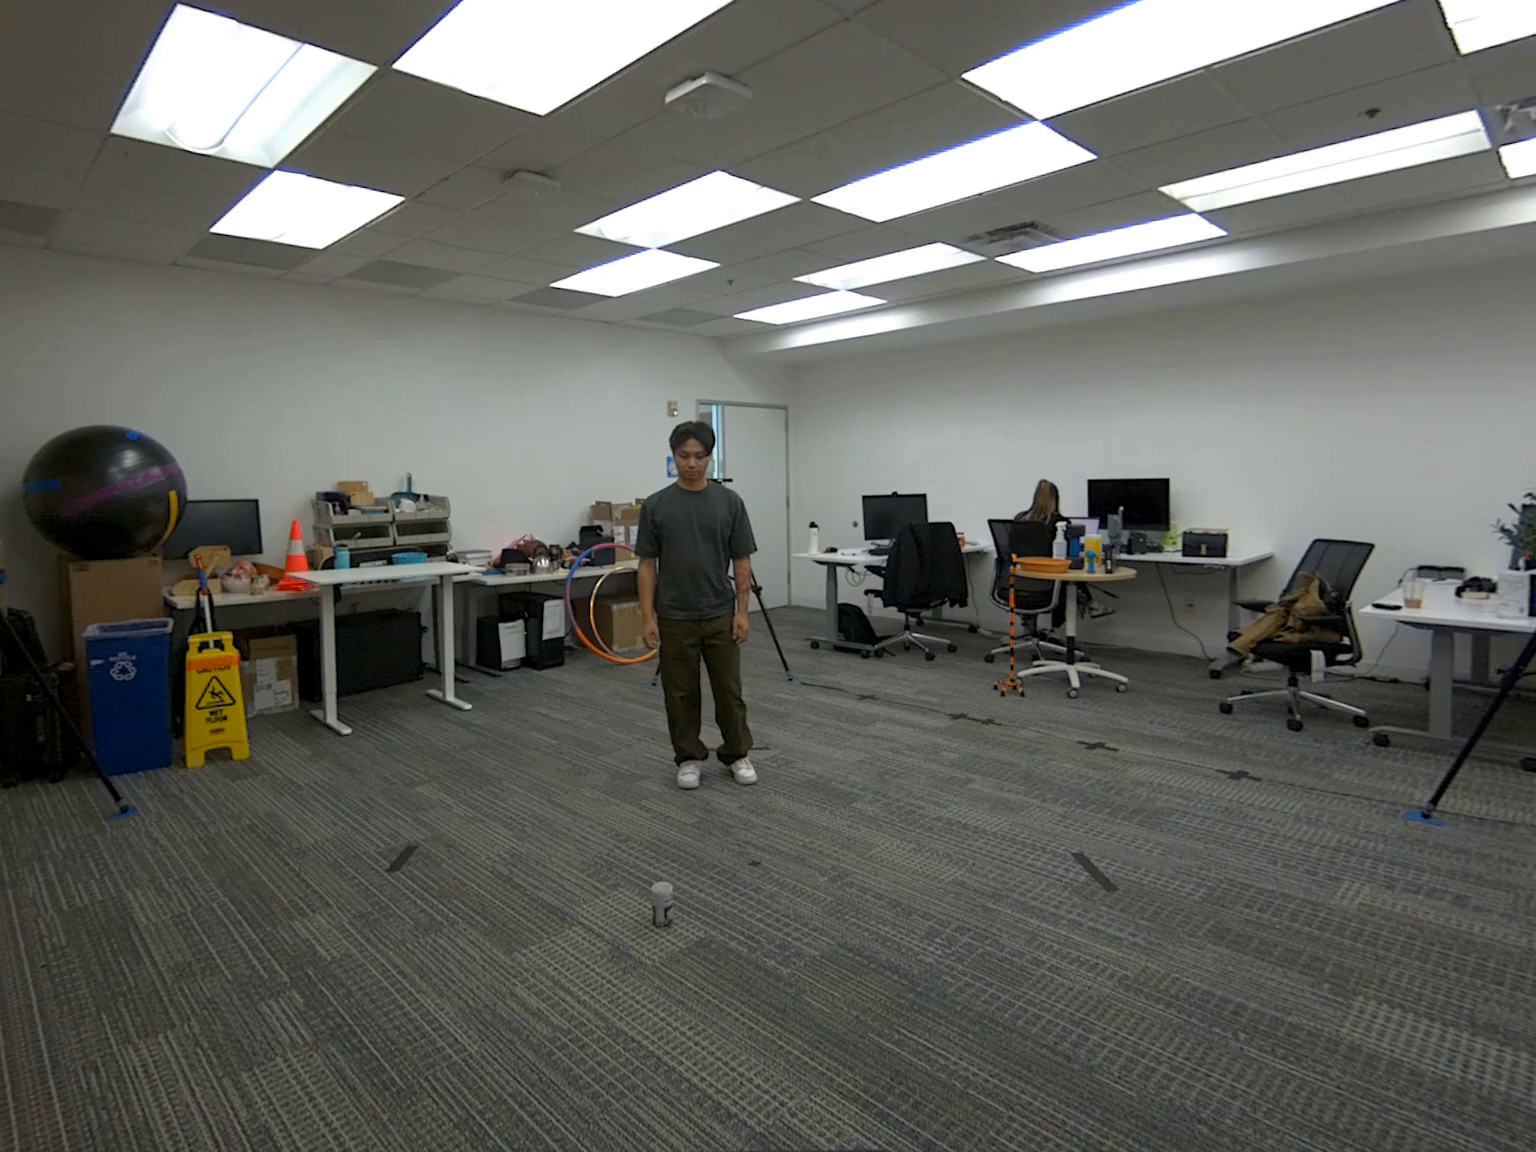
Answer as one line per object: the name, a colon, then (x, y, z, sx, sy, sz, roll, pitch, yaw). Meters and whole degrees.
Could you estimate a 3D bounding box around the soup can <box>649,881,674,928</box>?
soup can: (-0.333, 1.045, 2.697, 0.067, 0.121, 0.067, -2, 5, -1)
